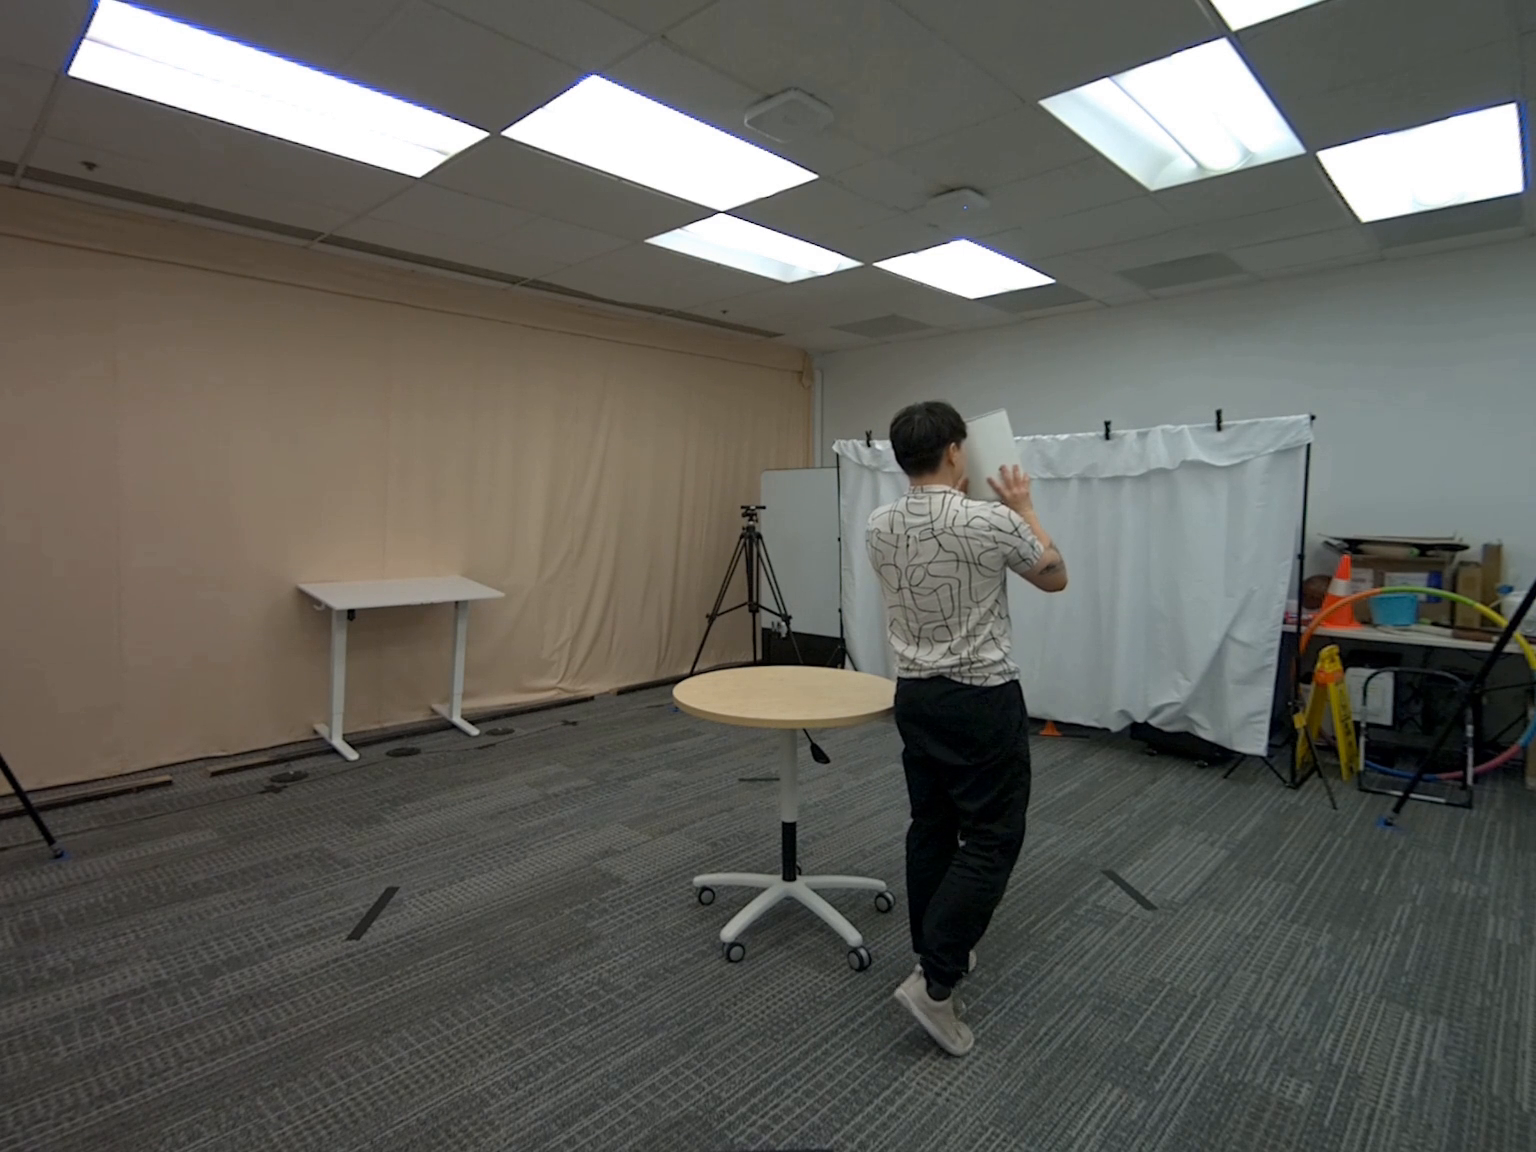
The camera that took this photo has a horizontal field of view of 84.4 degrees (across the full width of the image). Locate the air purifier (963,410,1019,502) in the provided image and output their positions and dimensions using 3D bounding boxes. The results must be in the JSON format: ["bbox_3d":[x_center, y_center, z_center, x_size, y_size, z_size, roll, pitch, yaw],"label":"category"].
[{"bbox_3d":[0.685,-0.360,2.590,0.169,0.265,0.174,-18,3,-12],"label":"air purifier"}]
